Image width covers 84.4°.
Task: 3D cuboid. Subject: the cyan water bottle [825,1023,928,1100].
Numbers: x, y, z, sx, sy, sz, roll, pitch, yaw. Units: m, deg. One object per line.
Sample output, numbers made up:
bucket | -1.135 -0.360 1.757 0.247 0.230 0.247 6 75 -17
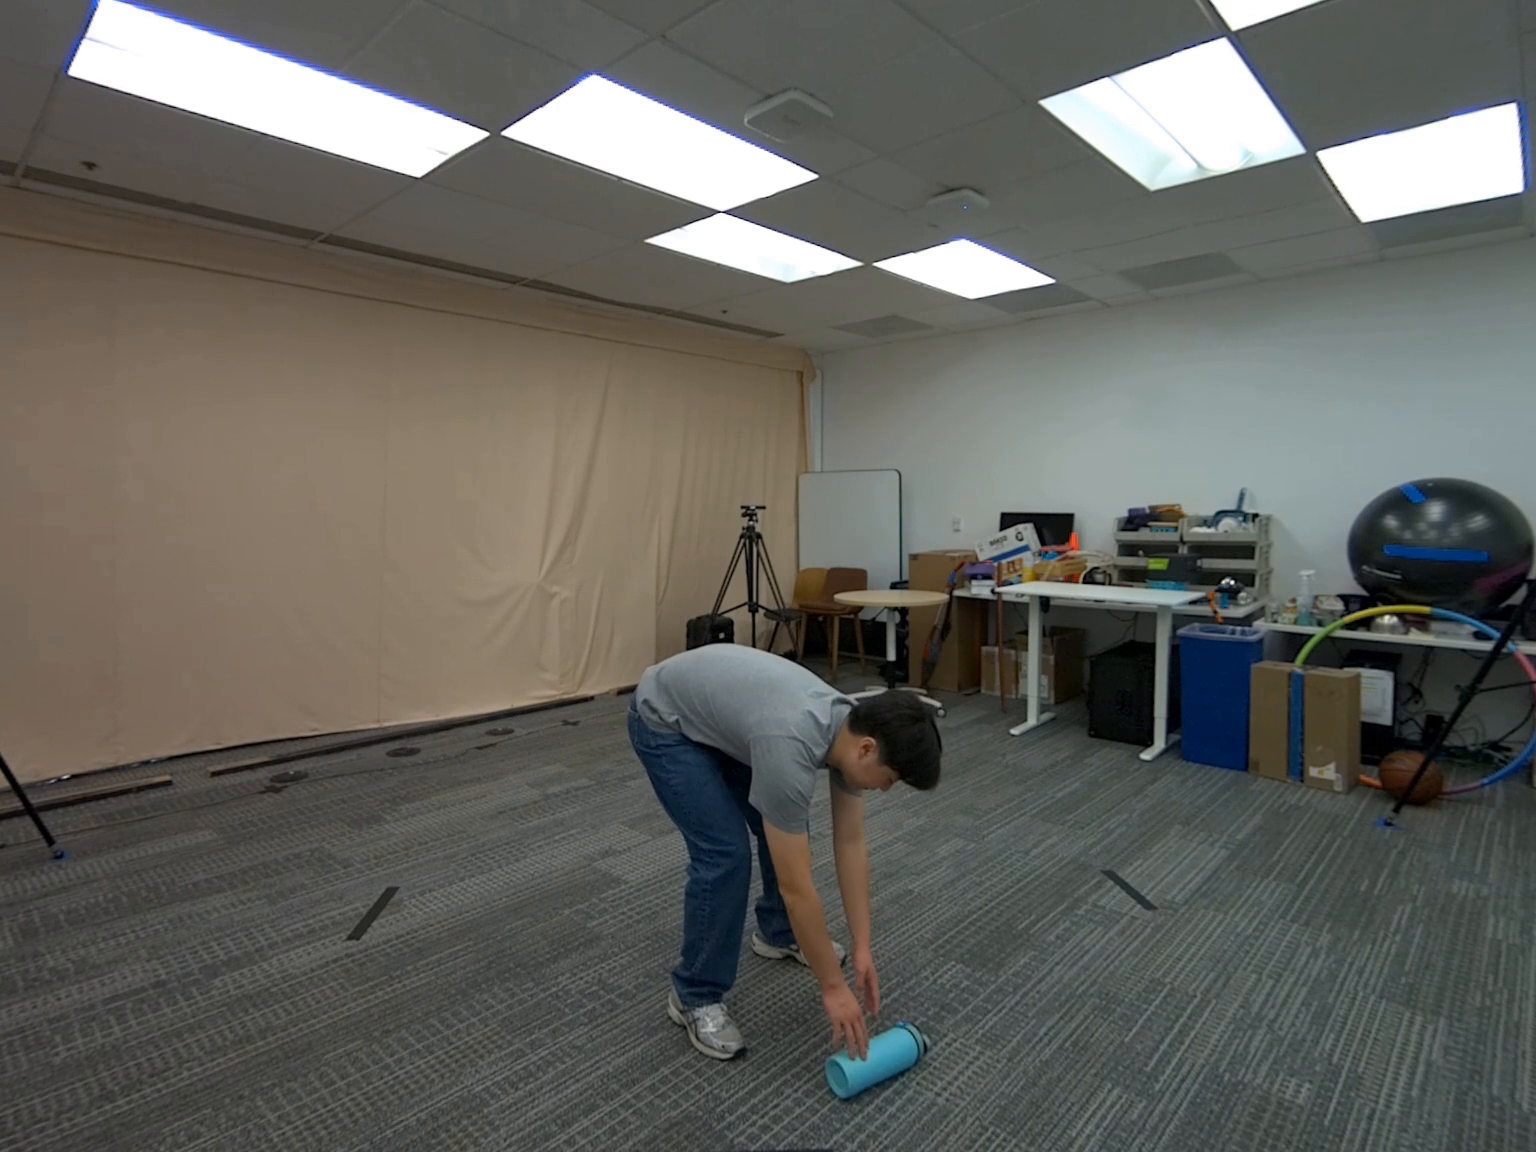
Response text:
cyan water bottle | 0.280 1.177 2.054 0.275 0.092 0.095 -3 5 -33
